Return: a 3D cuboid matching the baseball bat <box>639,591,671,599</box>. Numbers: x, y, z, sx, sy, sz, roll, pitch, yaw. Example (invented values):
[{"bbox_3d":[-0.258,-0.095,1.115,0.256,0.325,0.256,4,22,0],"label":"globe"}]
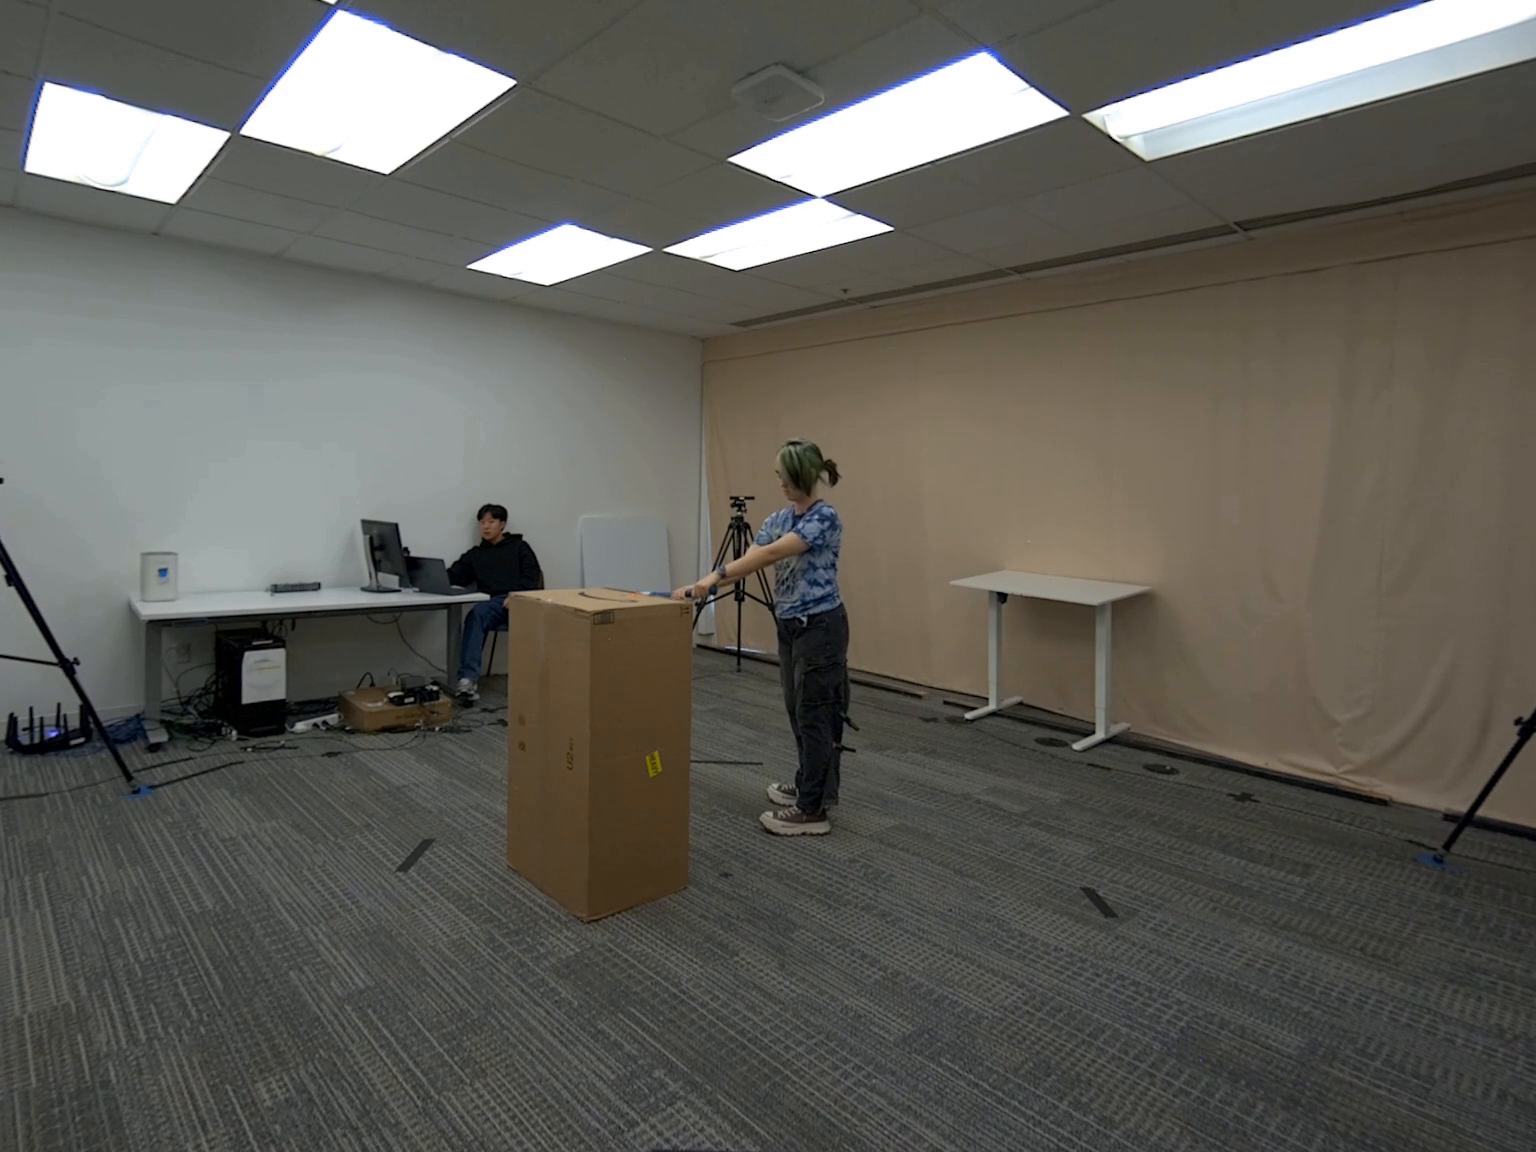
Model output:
[{"bbox_3d":[-0.459,0.104,3.473,0.551,0.089,0.088,-9,0,23],"label":"baseball bat"}]
